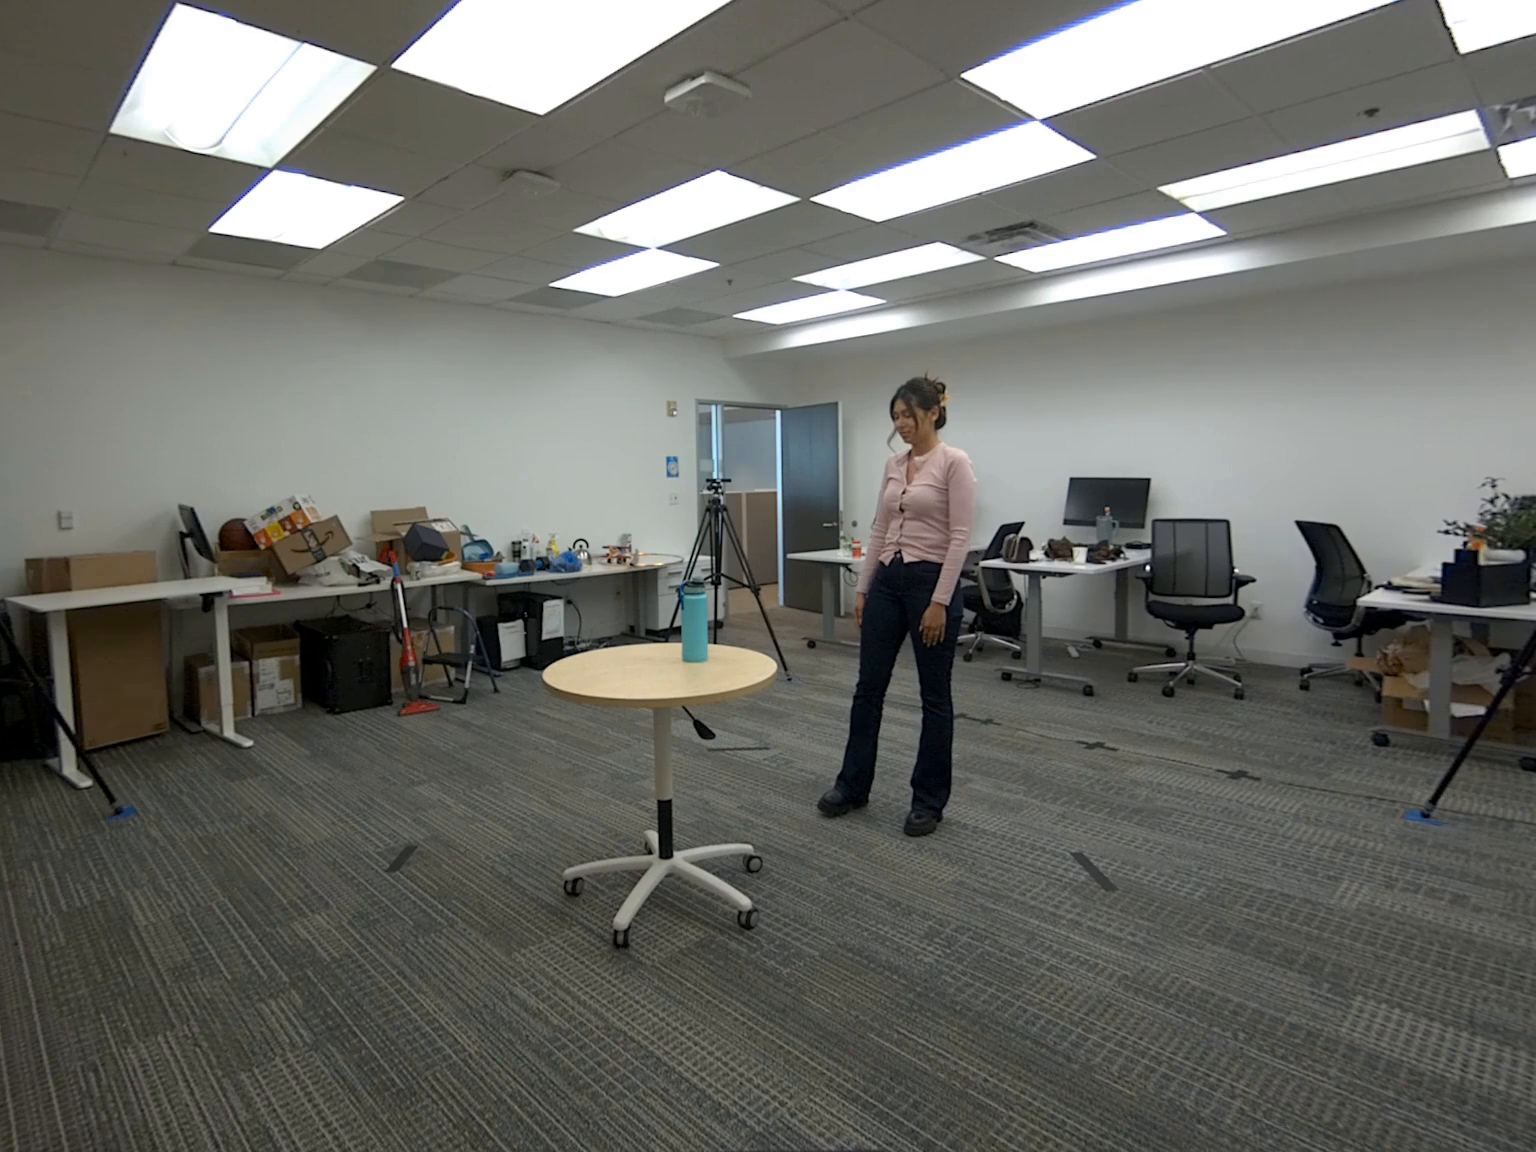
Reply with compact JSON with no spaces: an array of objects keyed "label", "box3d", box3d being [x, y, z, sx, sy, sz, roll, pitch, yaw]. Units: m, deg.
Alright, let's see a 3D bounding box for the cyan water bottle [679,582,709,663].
[{"label":"cyan water bottle","box3d":[-0.254,0.148,2.896,0.092,0.282,0.093,-2,6,-1]}]
